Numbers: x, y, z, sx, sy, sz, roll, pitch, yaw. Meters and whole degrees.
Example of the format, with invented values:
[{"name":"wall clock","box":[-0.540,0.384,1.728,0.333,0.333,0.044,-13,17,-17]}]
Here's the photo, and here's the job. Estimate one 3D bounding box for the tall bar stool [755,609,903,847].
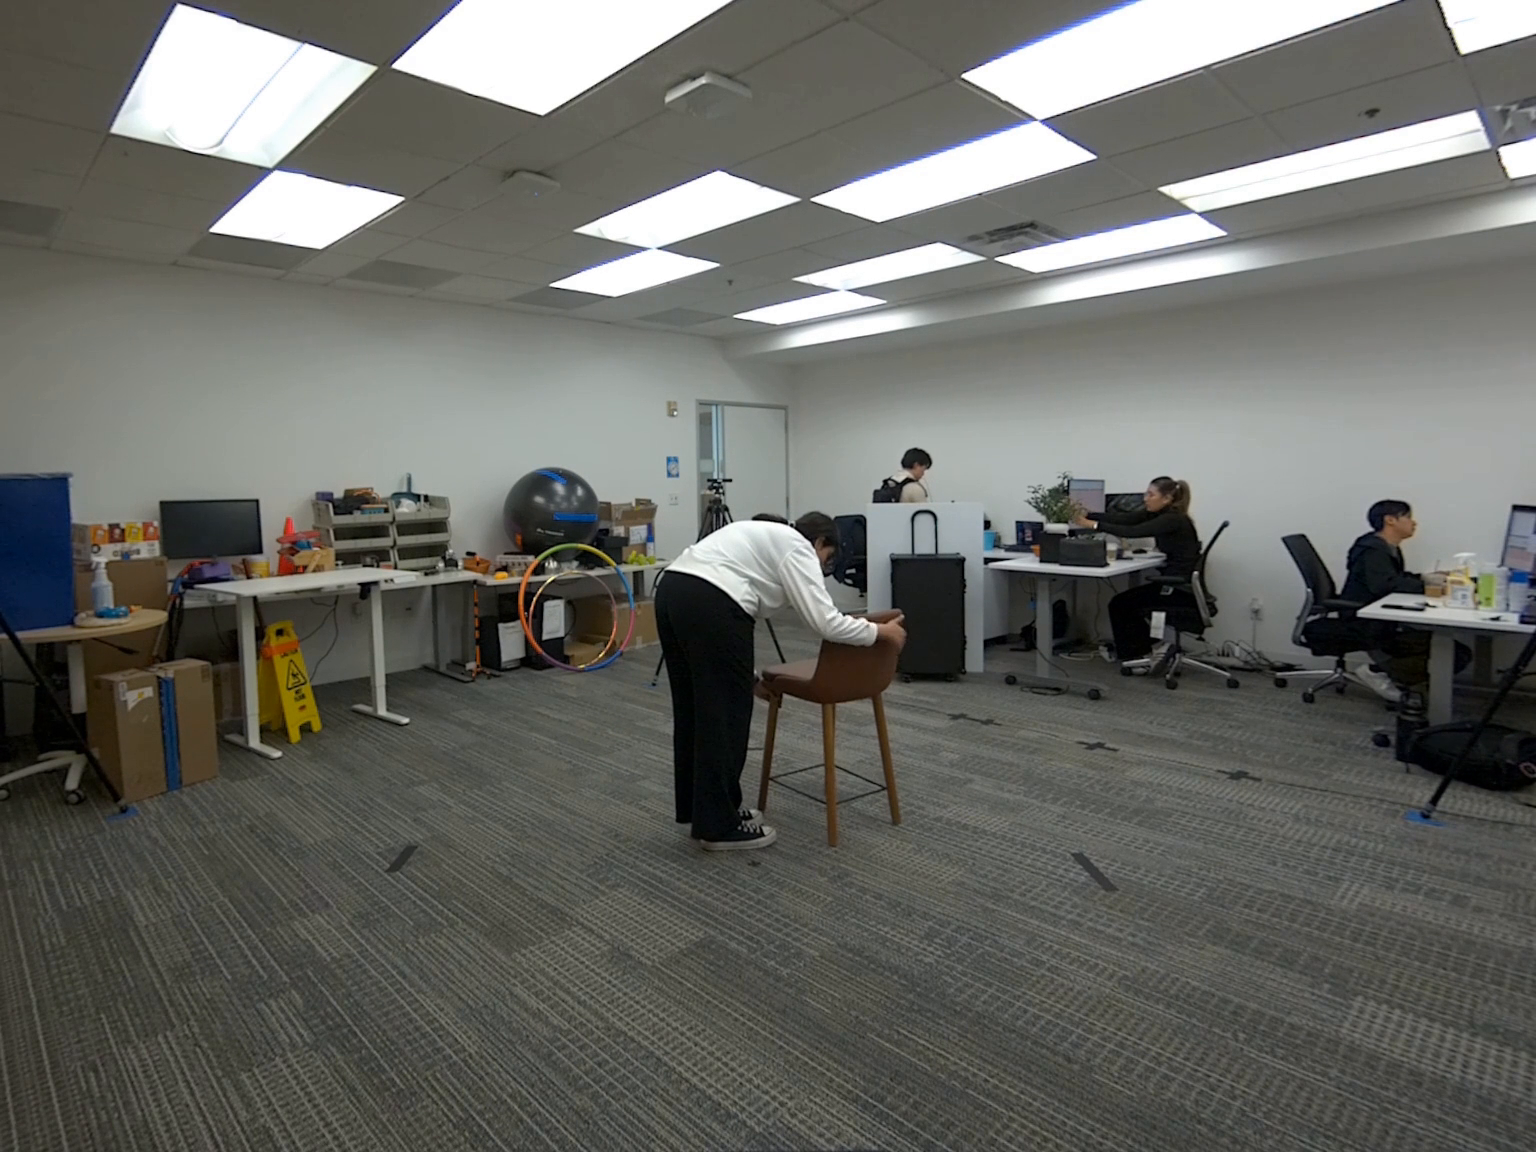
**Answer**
[{"name":"tall bar stool","box":[0.262,0.556,3.498,0.444,0.886,0.482,-3,7,-37]}]
